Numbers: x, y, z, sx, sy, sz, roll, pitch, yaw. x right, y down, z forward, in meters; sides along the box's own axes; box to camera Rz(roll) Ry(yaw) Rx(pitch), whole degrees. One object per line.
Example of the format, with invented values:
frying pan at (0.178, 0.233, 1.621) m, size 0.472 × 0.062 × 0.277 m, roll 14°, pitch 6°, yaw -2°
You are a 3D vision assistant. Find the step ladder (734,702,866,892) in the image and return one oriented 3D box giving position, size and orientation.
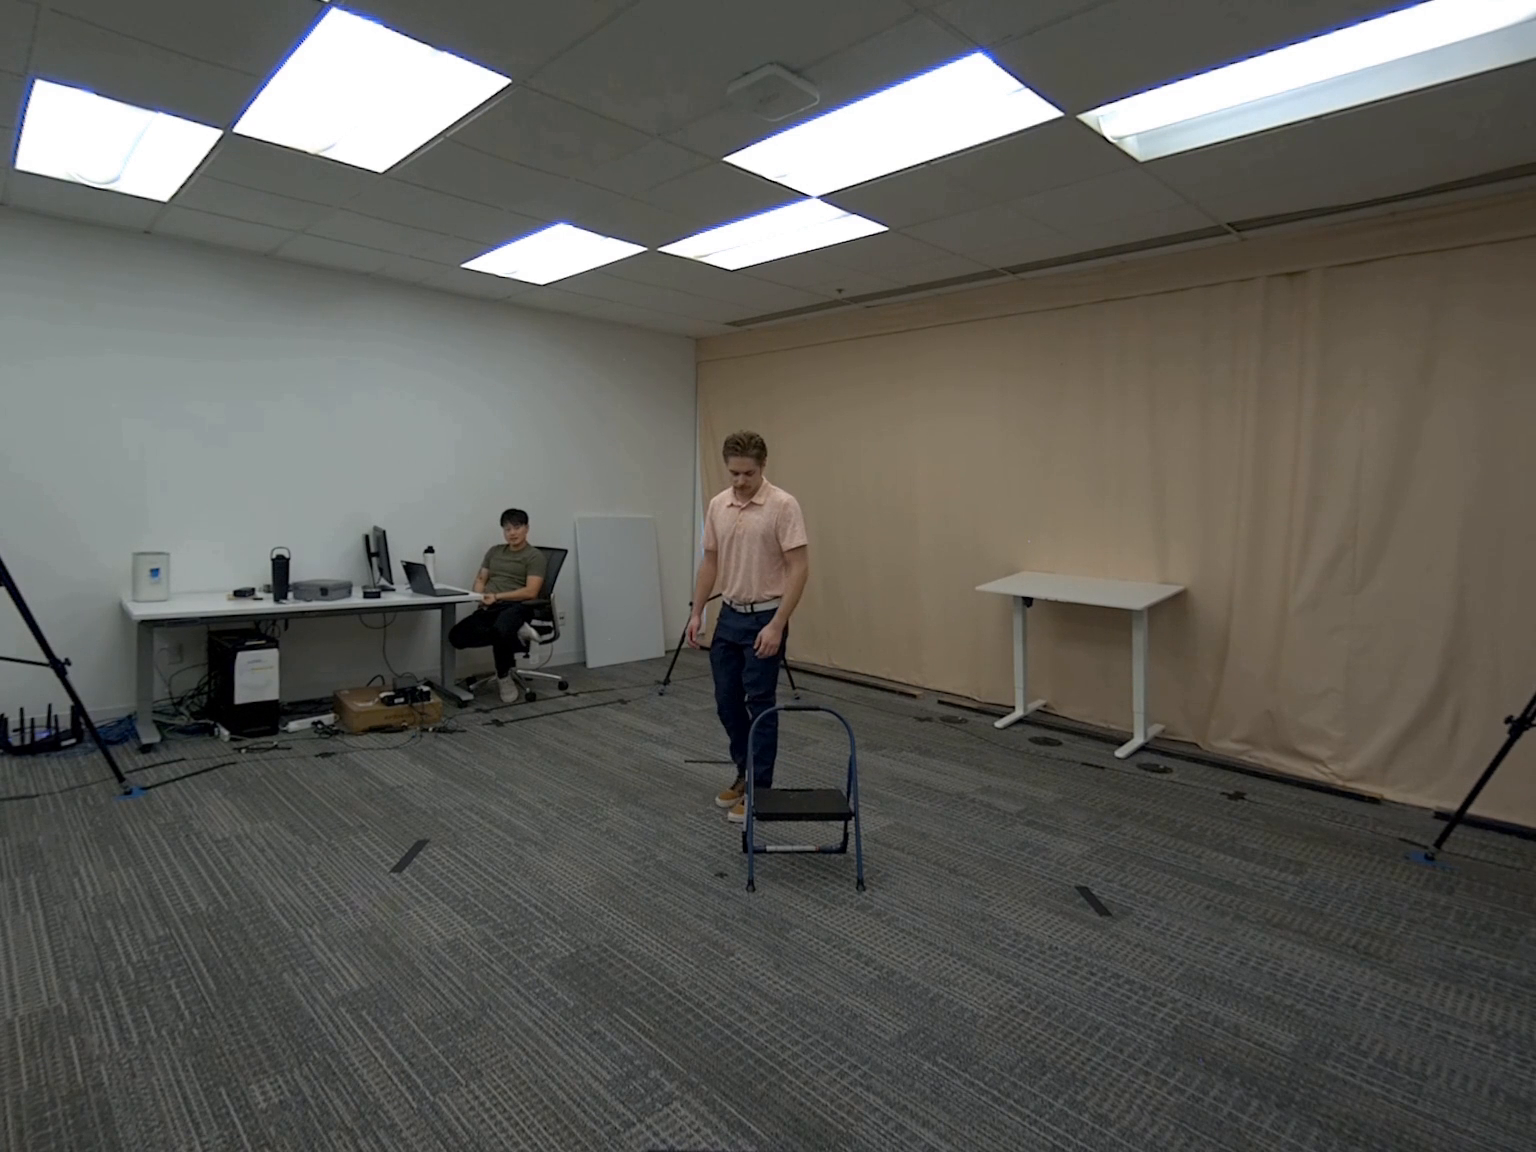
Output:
step ladder at (0.125, 0.808, 3.152) m, size 0.429 × 0.604 × 0.352 m, roll 2°, pitch 5°, yaw -5°
